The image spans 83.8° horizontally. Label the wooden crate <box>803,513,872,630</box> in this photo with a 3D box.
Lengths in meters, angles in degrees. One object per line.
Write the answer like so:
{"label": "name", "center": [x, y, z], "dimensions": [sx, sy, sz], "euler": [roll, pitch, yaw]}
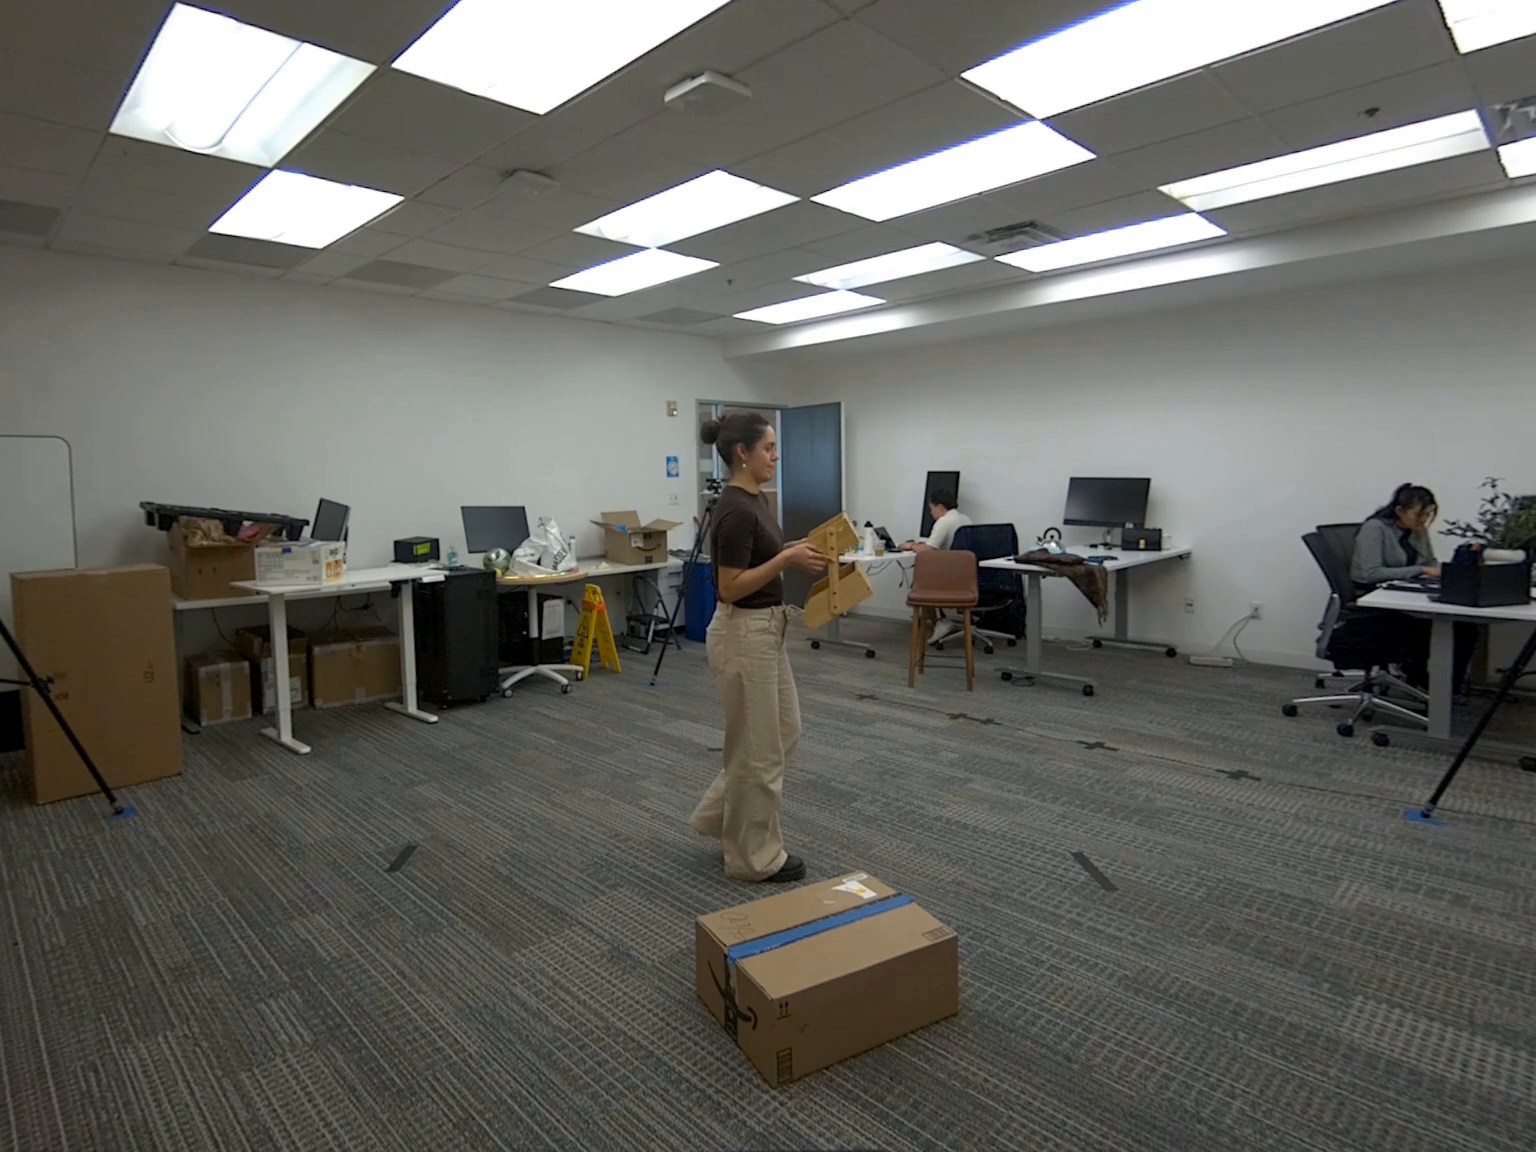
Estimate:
{"label": "wooden crate", "center": [0.201, -0.021, 2.911], "dimensions": [0.303, 0.273, 0.324], "euler": [-31, 2, 8]}
